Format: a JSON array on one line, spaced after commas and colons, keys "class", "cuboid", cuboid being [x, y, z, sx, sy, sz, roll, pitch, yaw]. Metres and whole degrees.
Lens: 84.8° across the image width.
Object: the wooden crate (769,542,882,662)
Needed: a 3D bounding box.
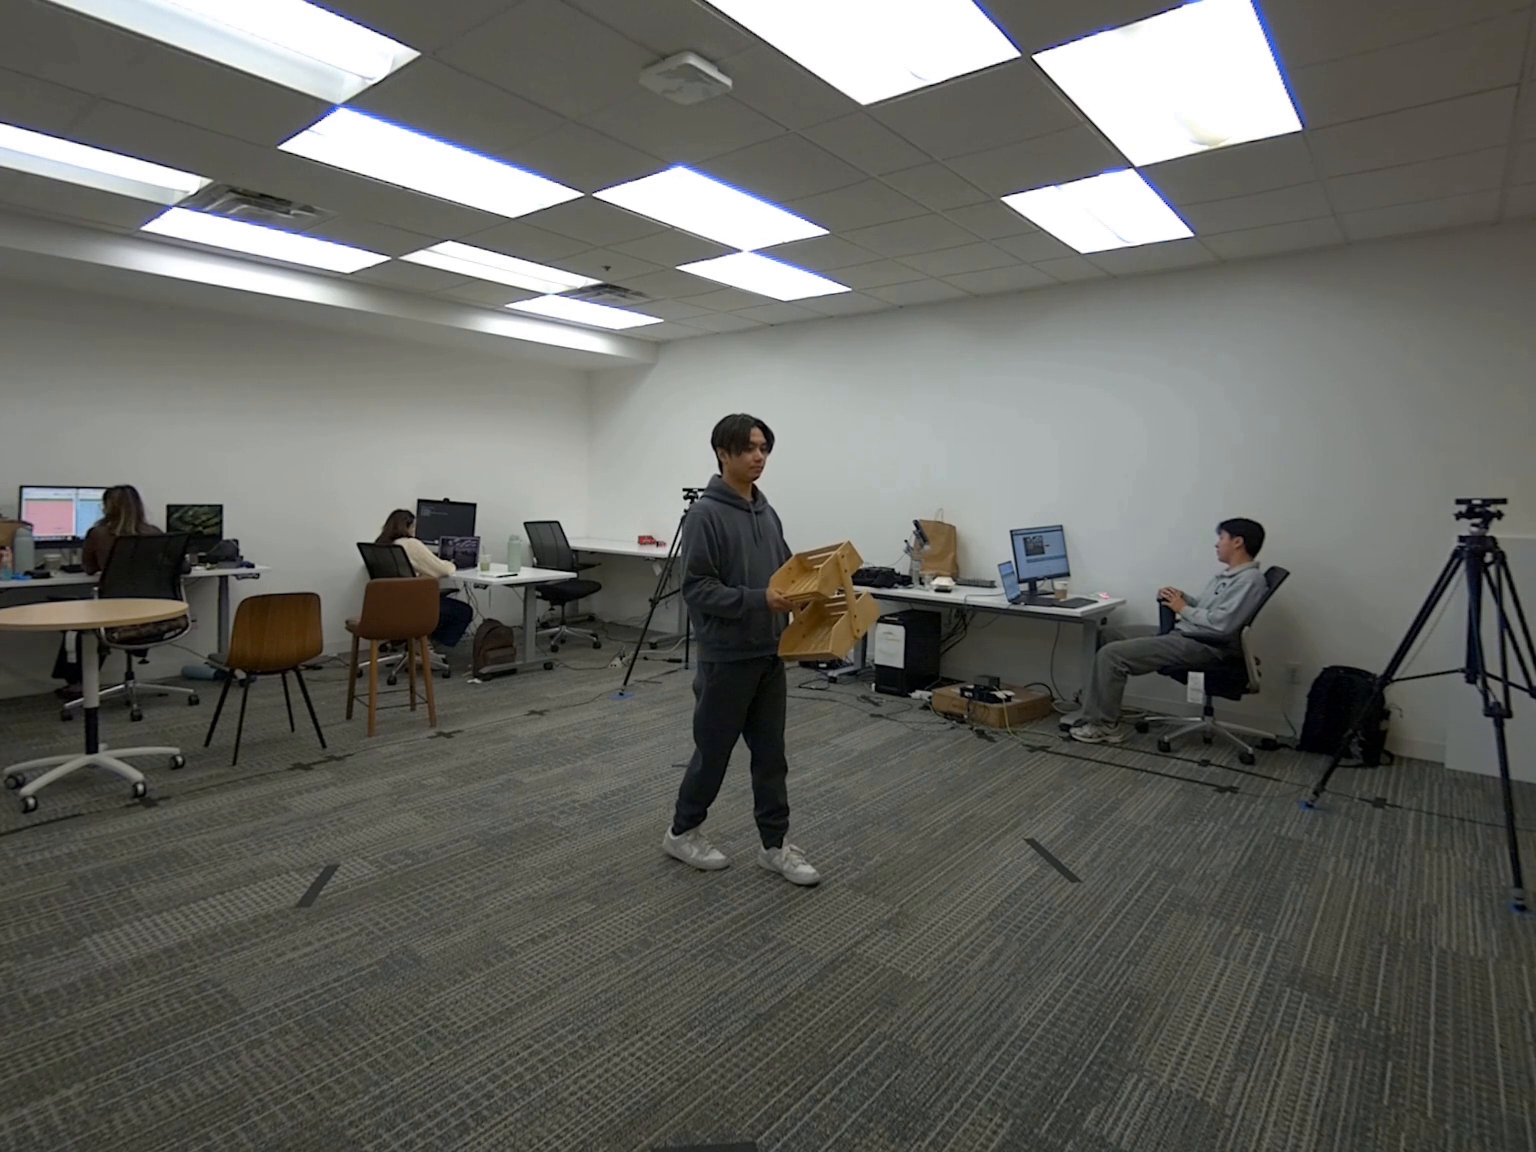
[{"class": "wooden crate", "cuboid": [0.148, 0.091, 2.817, 0.301, 0.270, 0.330, -42, 13, -30]}]
